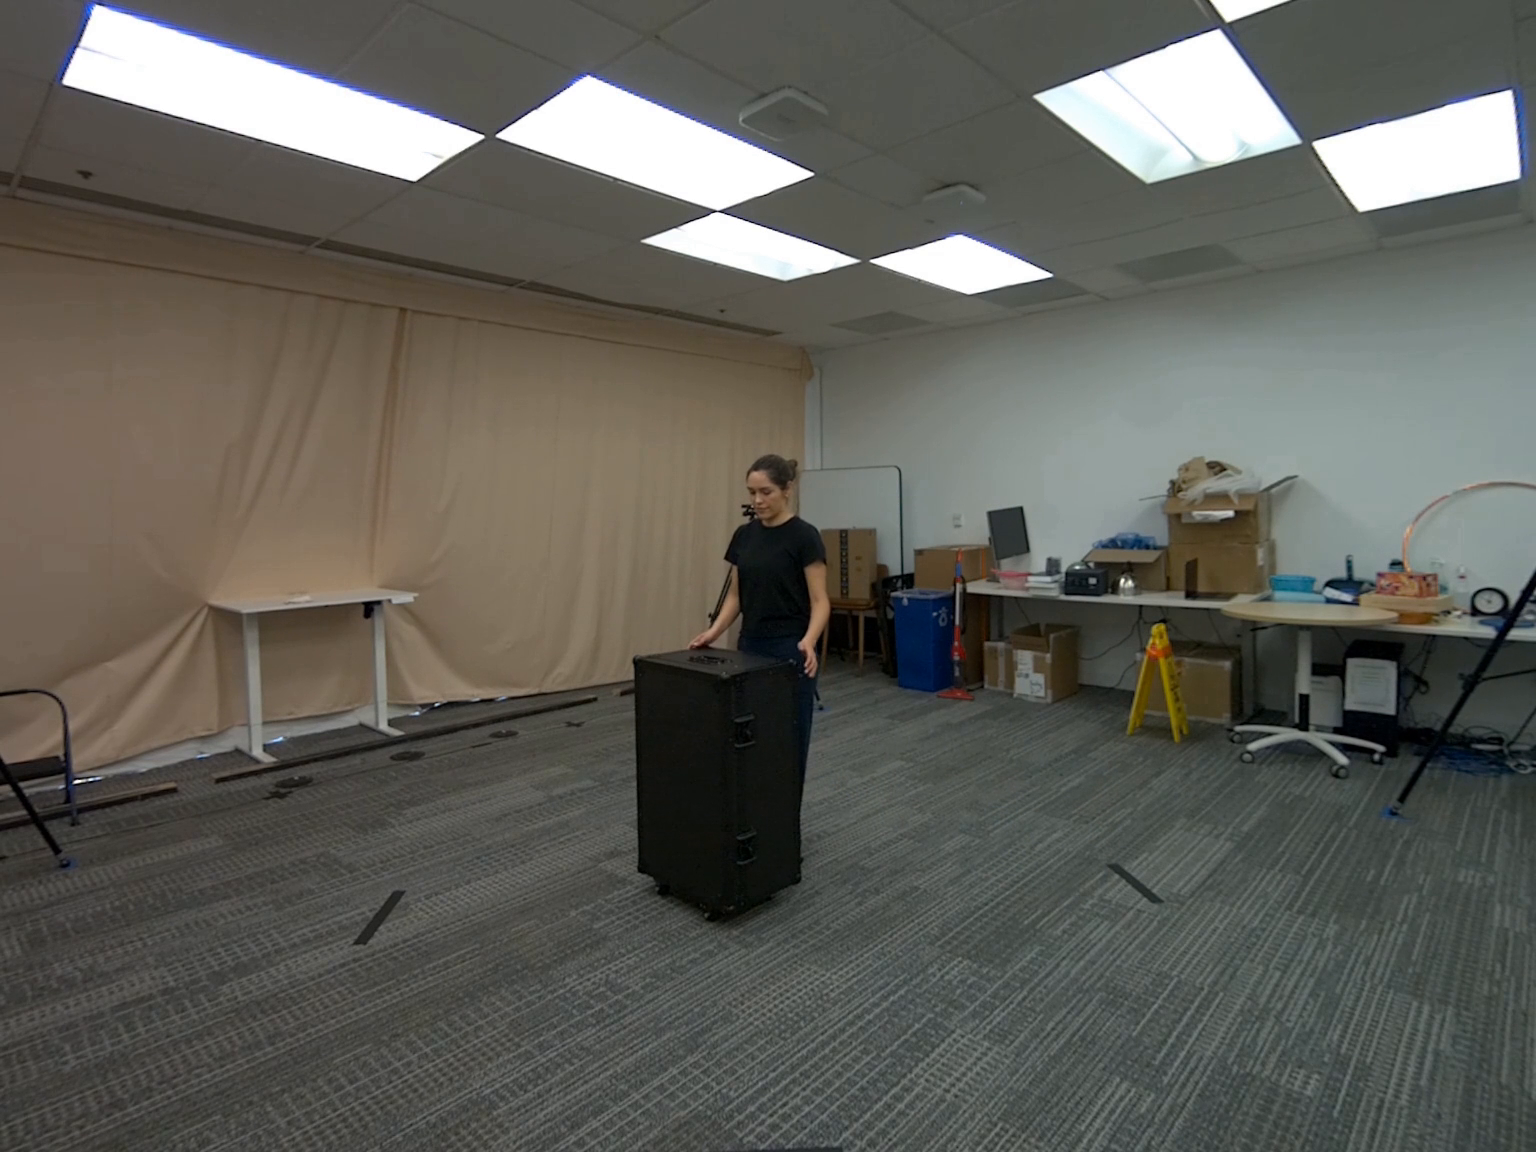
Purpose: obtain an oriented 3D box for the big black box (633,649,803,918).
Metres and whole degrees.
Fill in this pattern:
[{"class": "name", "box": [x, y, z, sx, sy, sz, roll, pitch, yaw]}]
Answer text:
[{"class": "big black box", "box": [-0.171, 0.719, 2.993, 0.384, 0.860, 0.538, -3, 3, -45]}]
